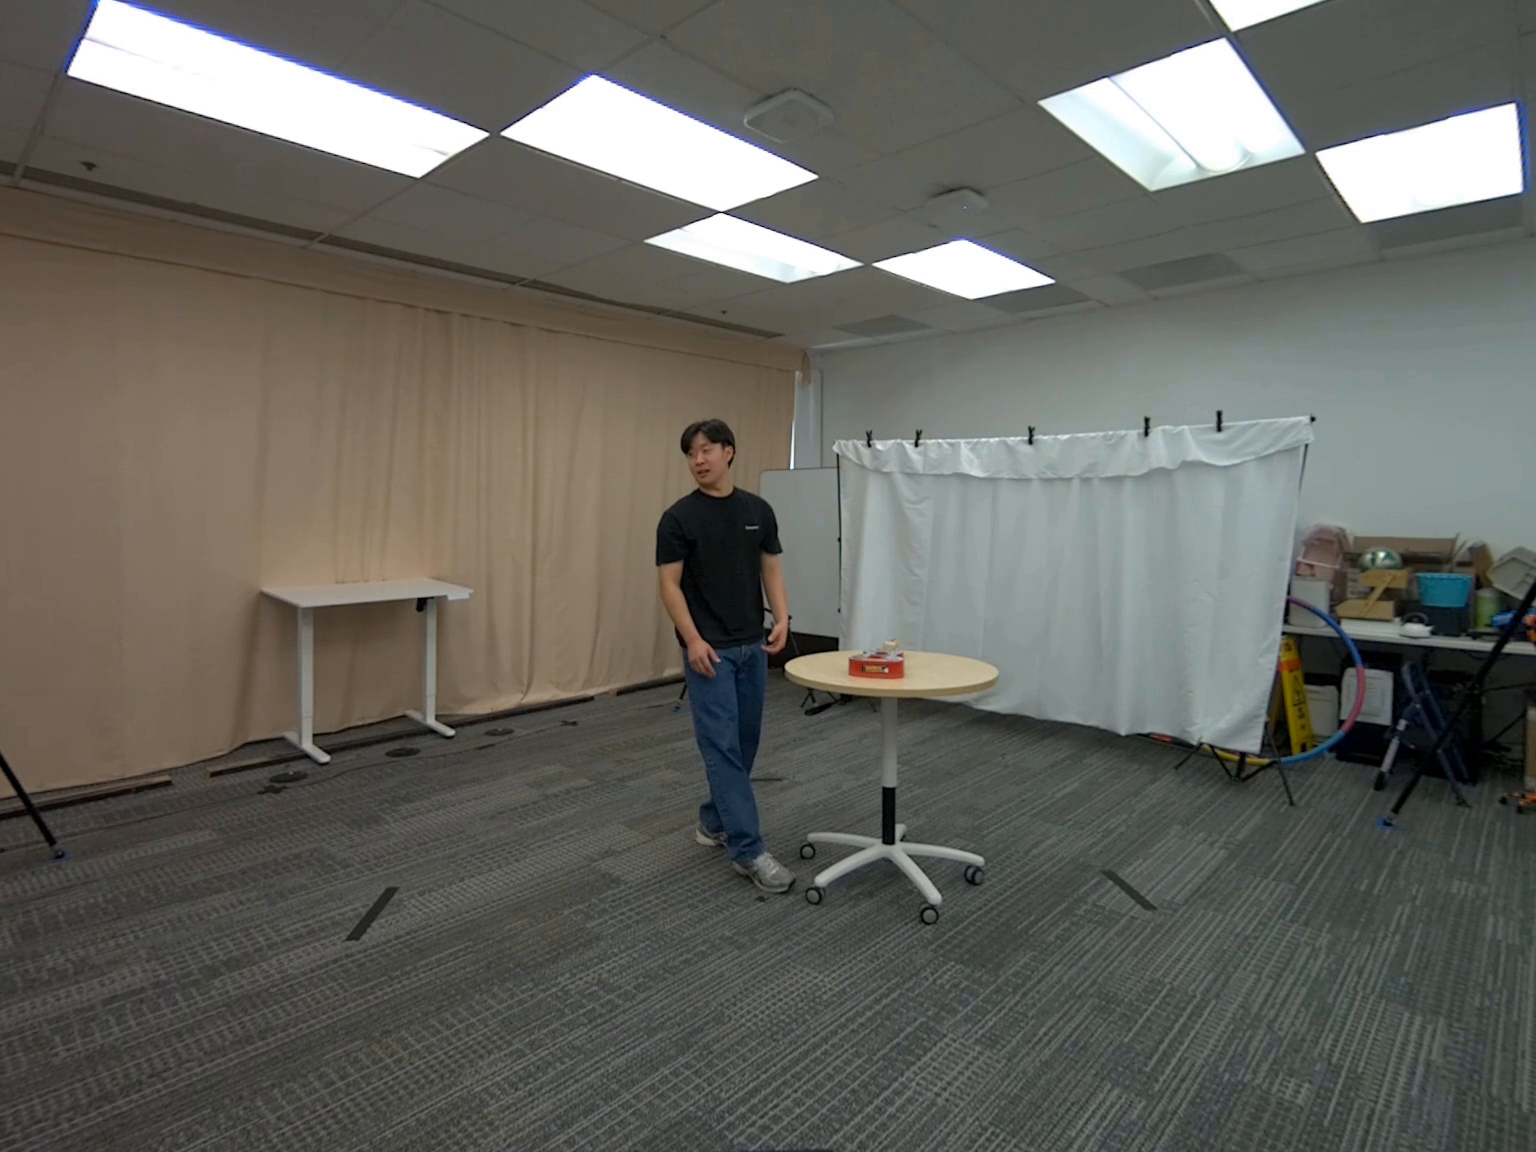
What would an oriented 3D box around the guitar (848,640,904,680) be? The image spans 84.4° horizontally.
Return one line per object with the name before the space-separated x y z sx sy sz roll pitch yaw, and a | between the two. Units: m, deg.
guitar | 0.466 0.304 3.110 0.198 0.070 0.486 1 5 26
